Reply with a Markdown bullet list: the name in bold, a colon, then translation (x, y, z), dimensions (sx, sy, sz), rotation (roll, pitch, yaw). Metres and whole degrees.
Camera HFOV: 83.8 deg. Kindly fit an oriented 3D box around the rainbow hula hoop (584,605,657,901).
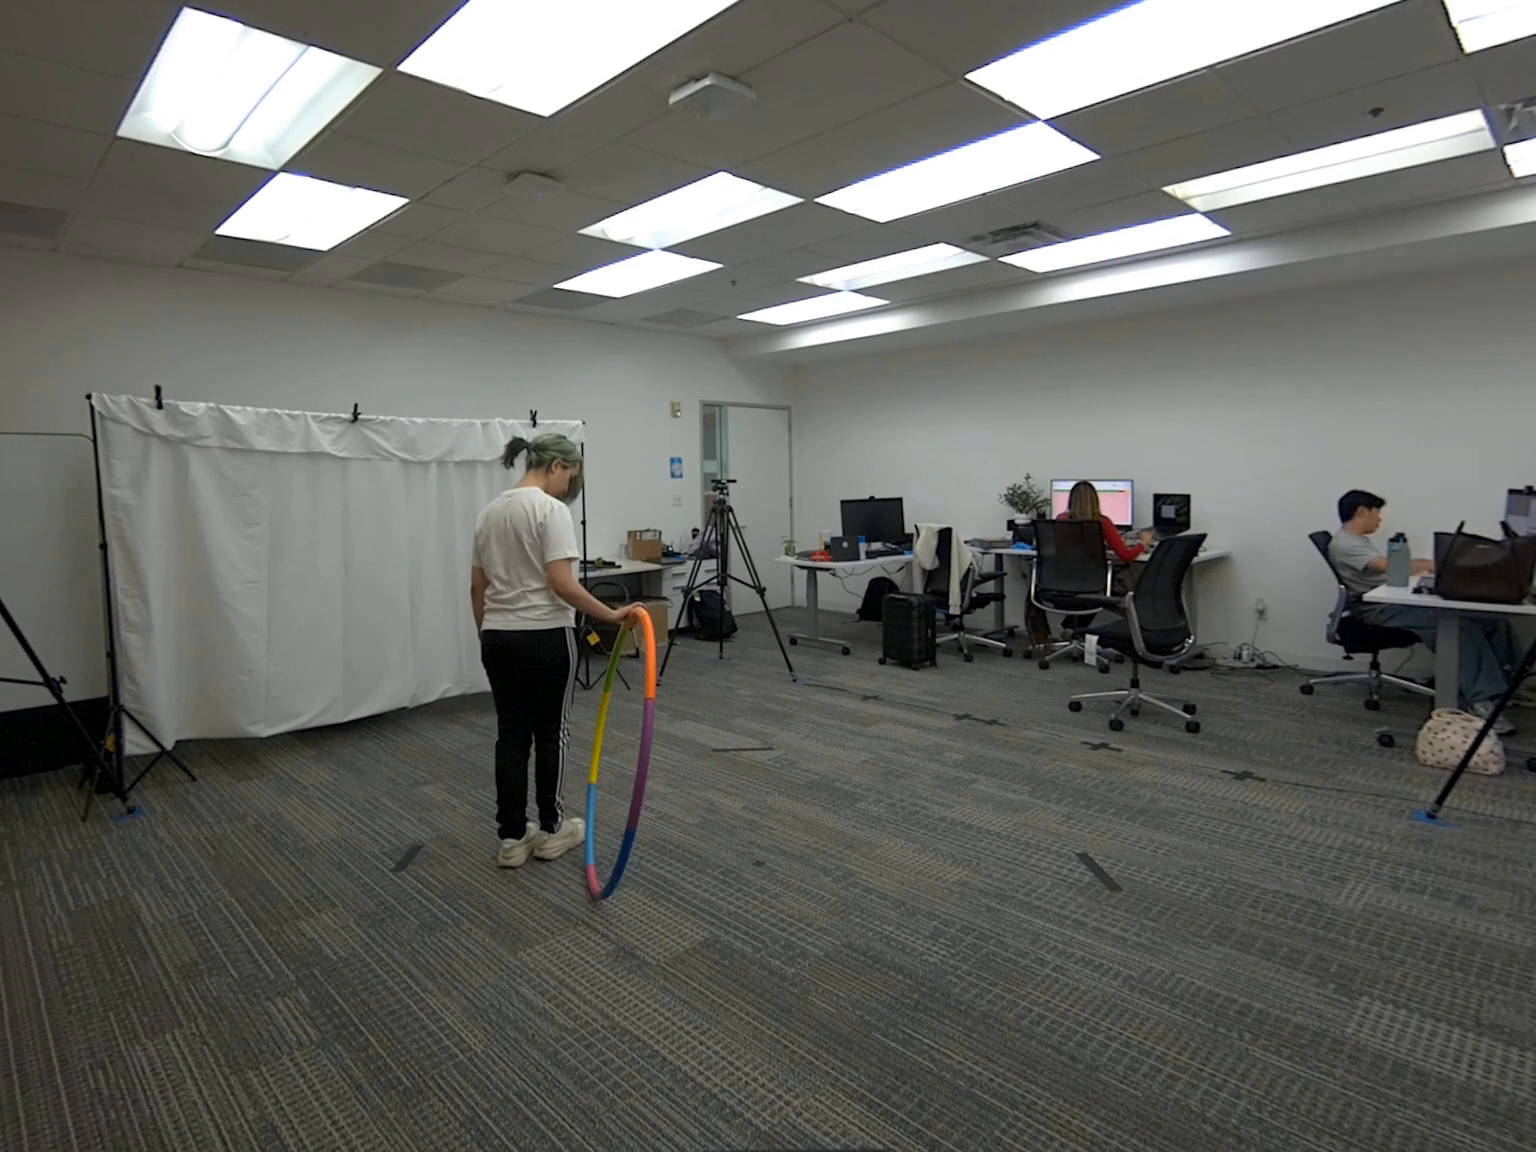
- **rainbow hula hoop**: translation (-0.523, 0.592, 2.964), dimensions (0.035, 0.978, 0.997), rotation (11, 1, -18)
